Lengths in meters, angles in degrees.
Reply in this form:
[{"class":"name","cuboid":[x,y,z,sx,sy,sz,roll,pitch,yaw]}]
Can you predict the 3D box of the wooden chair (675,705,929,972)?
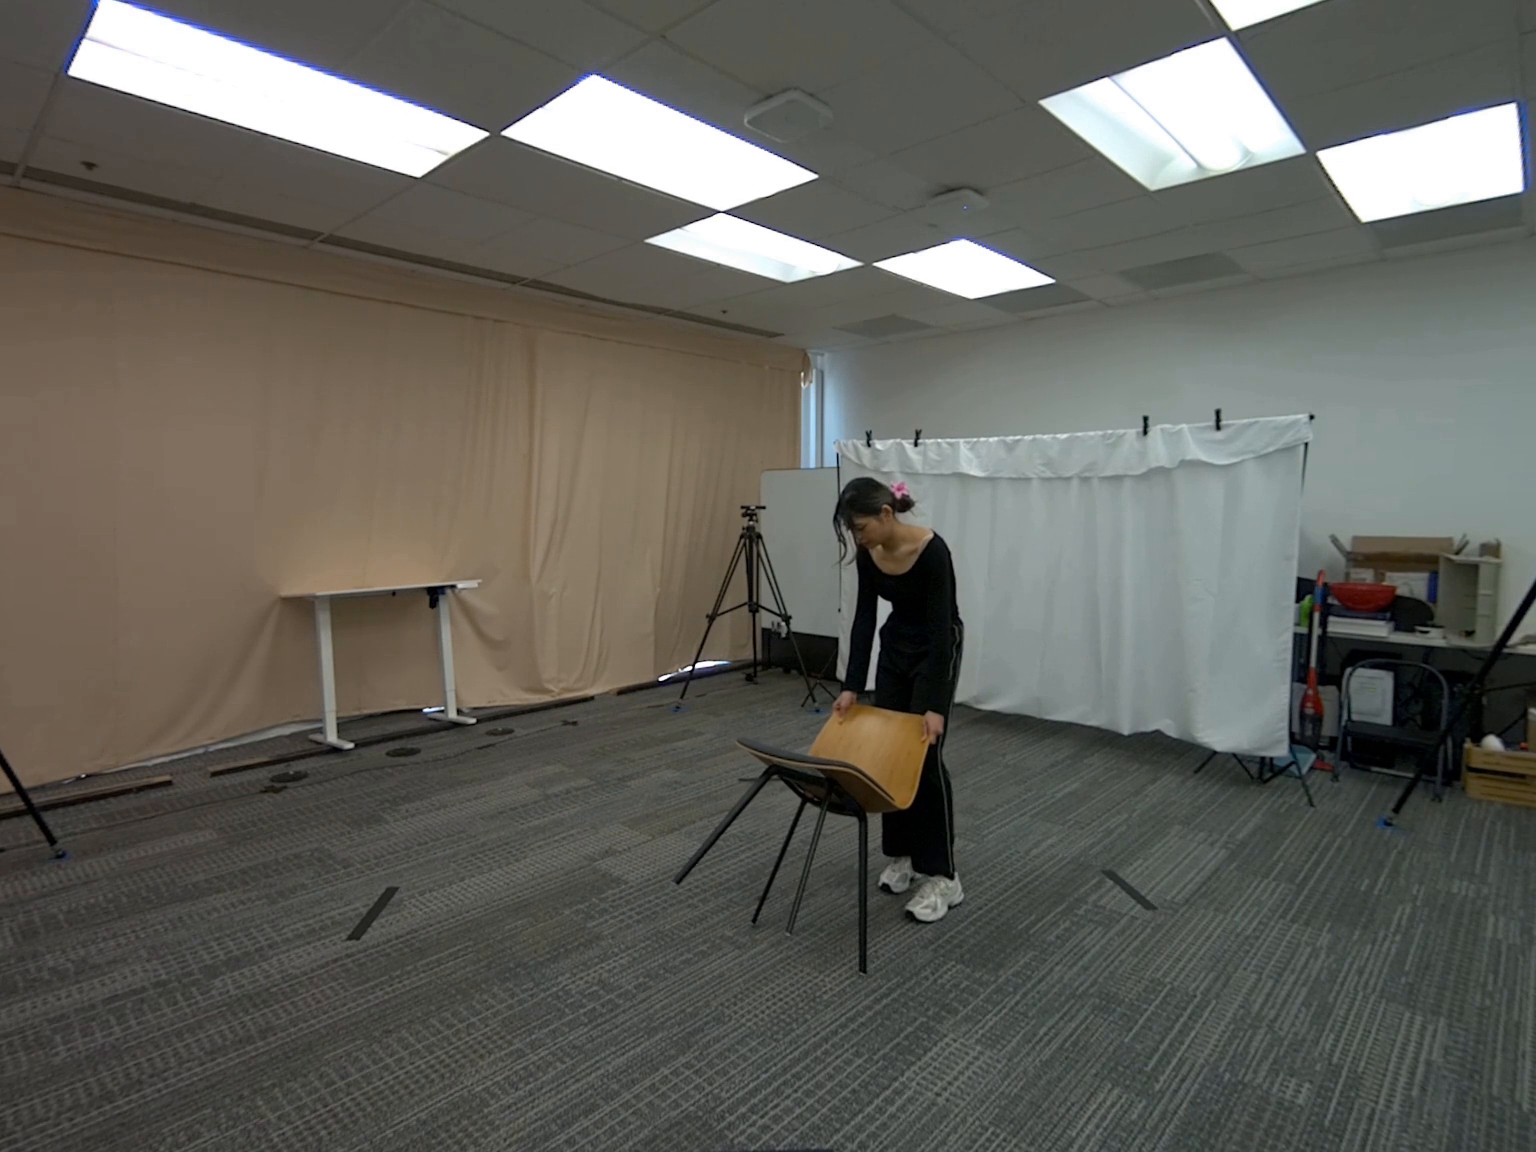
[{"class":"wooden chair","cuboid":[0.160,0.682,2.663,0.494,0.878,0.506,3,-35,43]}]
